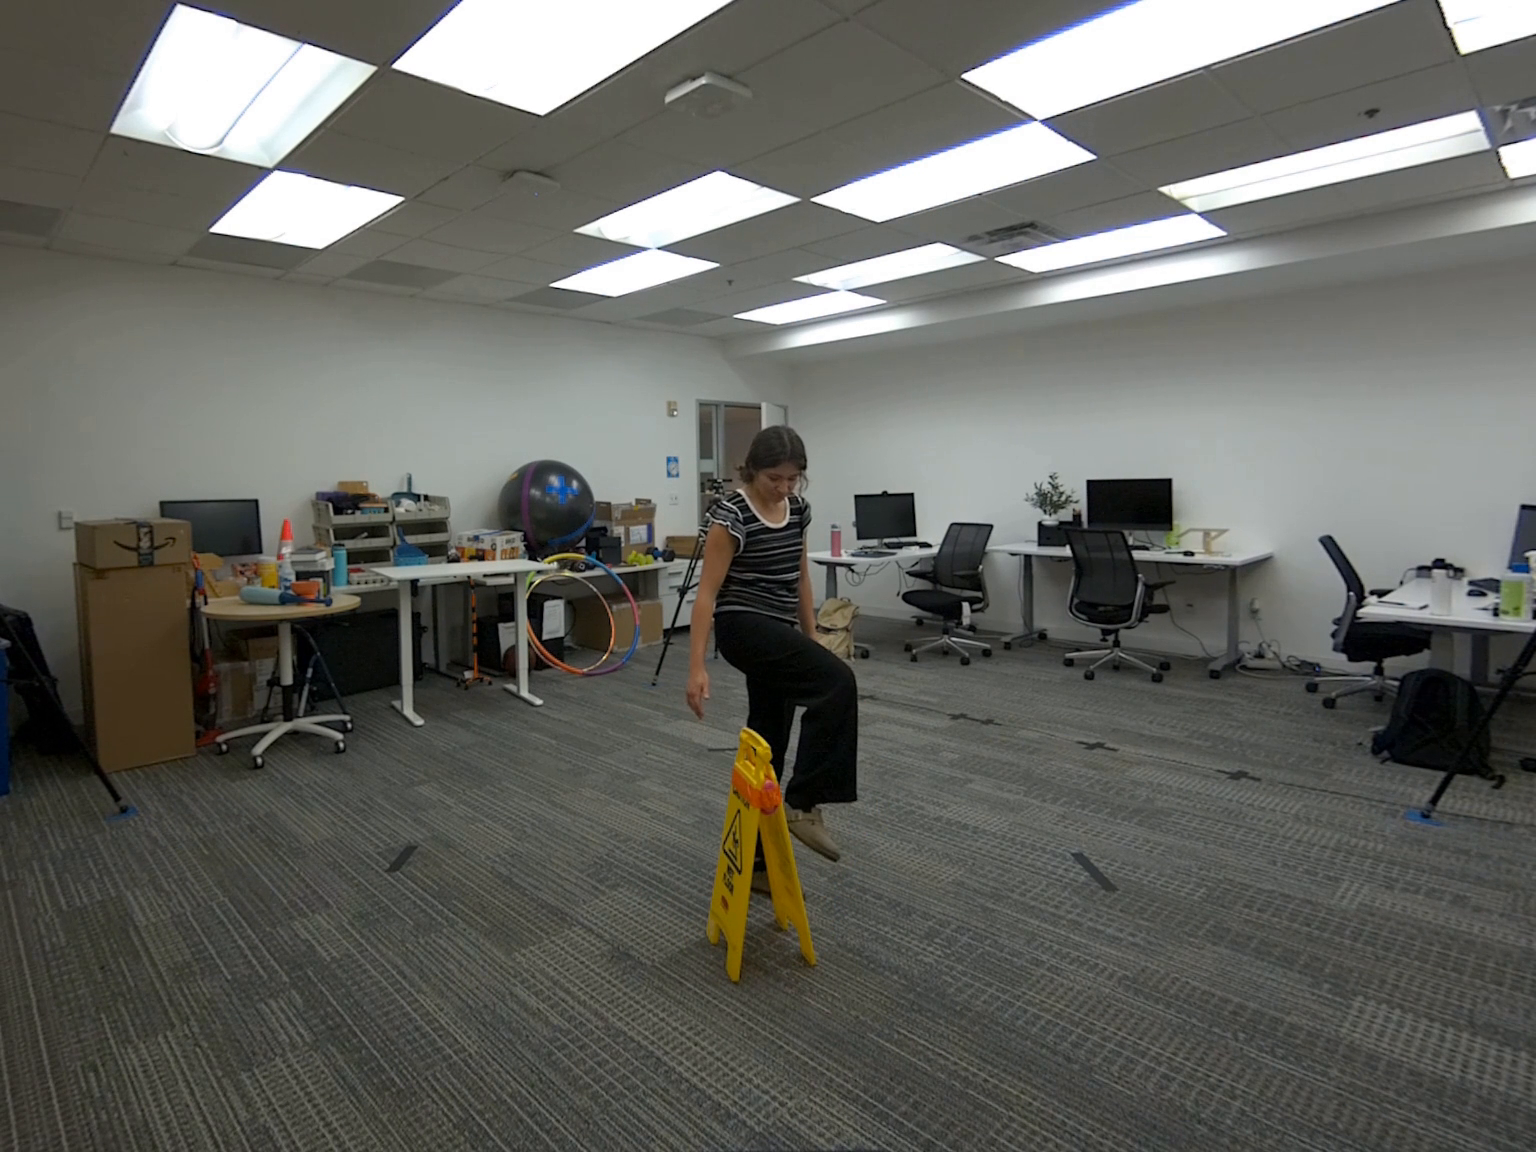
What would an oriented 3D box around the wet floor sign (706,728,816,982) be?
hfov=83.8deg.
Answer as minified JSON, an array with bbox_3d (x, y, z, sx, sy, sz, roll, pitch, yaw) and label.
[{"bbox_3d":[-0.033,0.789,2.516,0.285,0.643,0.288,-2,5,-18],"label":"wet floor sign"}]
